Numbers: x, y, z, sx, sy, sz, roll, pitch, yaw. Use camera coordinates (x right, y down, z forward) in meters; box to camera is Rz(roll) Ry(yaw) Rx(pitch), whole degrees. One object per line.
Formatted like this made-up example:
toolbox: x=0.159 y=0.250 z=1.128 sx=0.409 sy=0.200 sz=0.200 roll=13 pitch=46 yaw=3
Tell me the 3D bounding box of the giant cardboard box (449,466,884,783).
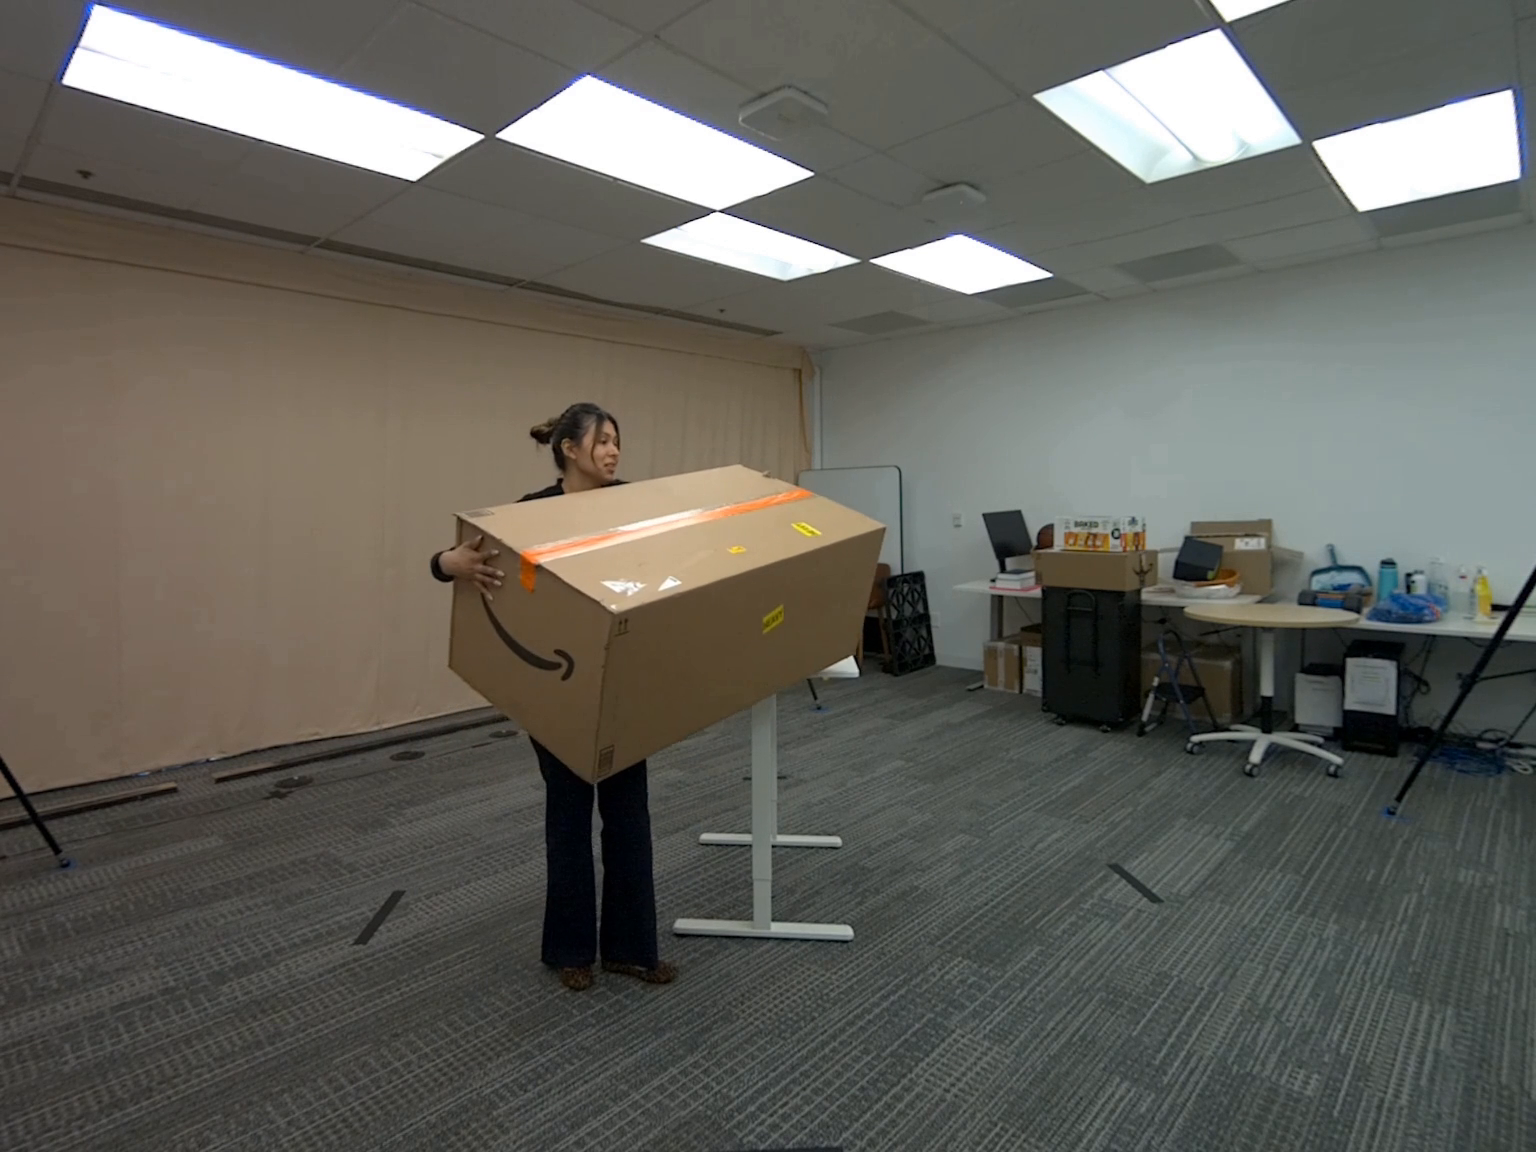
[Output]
giant cardboard box: x=-0.227 y=0.046 z=2.242 sx=0.598 sy=0.422 sz=1.000 roll=26 pitch=28 yaw=33
